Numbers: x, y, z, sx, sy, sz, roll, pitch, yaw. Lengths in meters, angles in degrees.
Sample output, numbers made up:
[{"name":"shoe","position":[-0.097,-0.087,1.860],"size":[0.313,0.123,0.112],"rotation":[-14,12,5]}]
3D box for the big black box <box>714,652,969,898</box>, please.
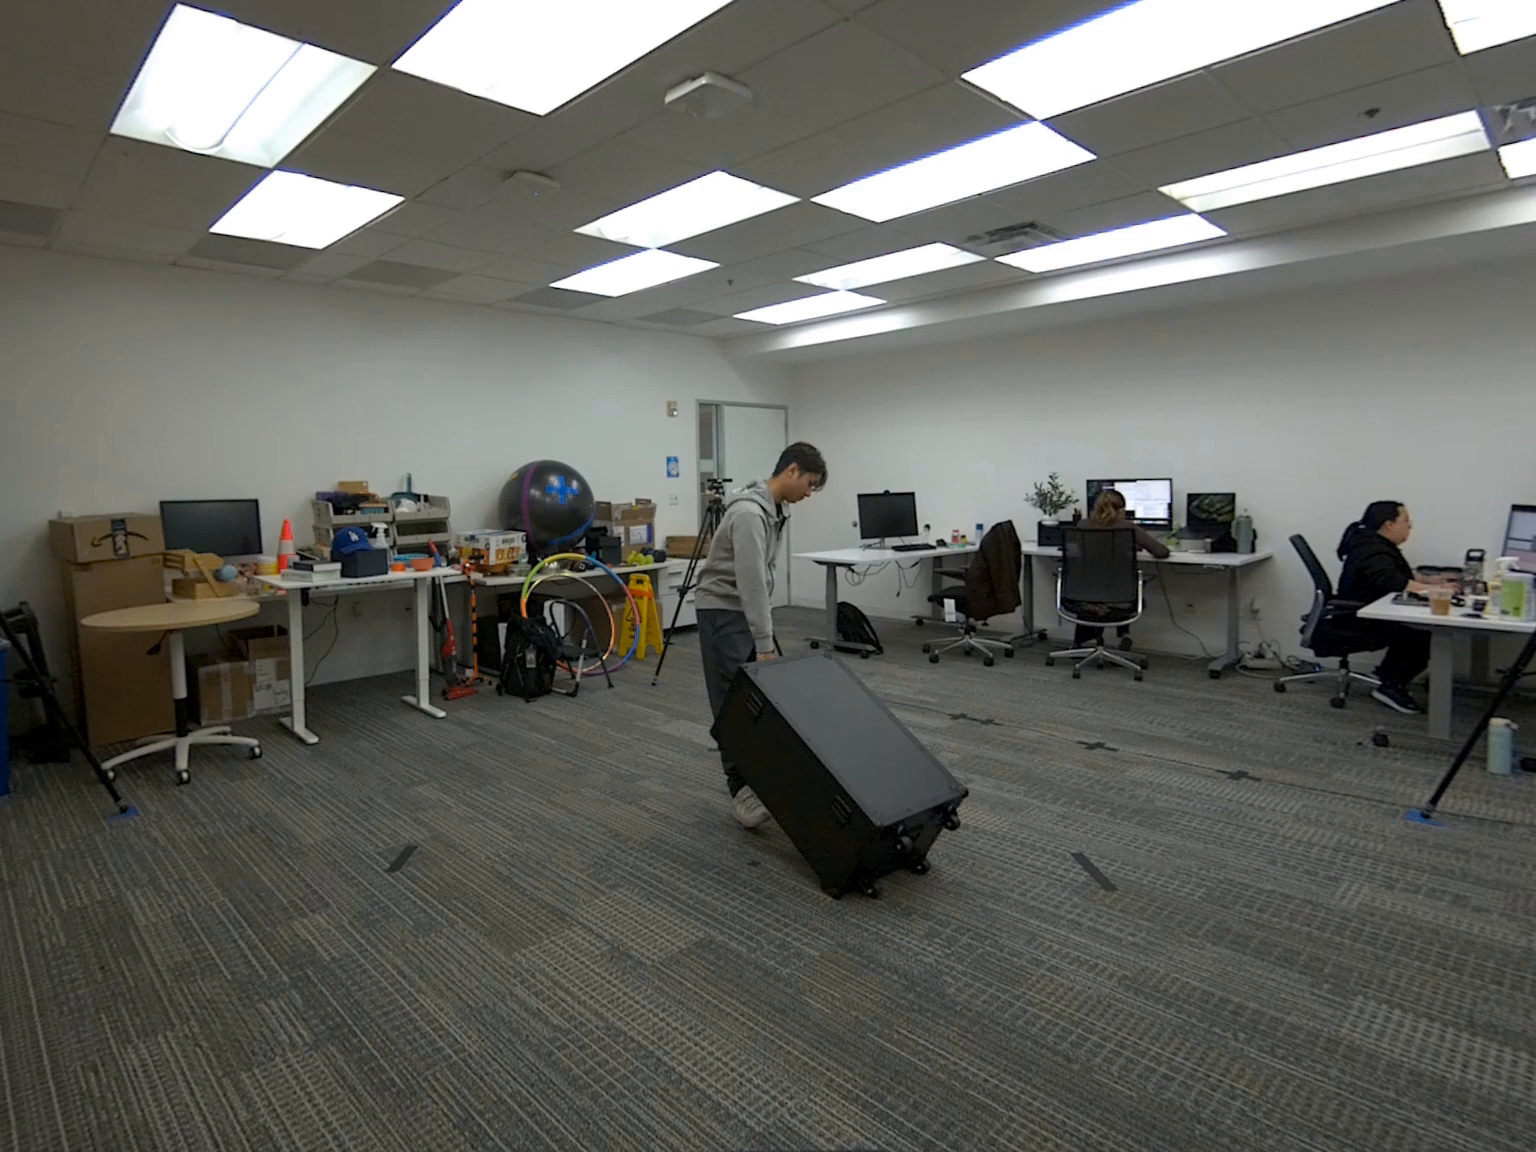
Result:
[{"name":"big black box","position":[0.248,0.705,3.118],"size":[0.507,0.391,0.895],"rotation":[-5,38,-41]}]
